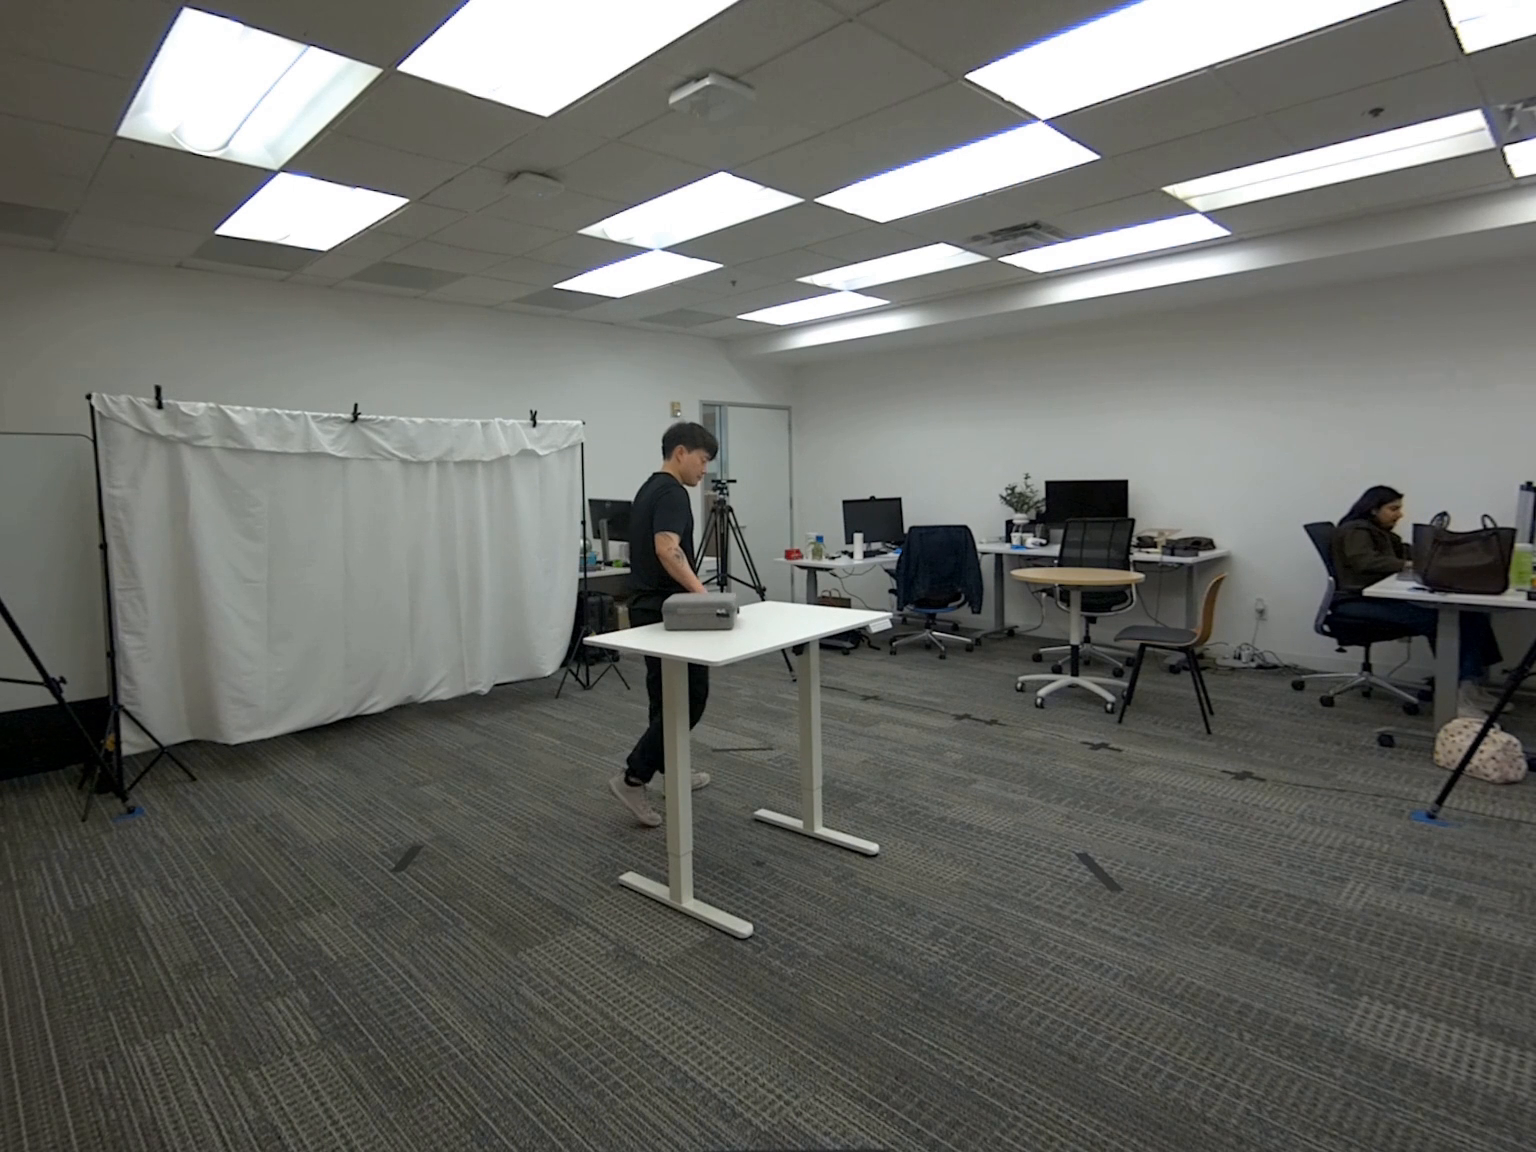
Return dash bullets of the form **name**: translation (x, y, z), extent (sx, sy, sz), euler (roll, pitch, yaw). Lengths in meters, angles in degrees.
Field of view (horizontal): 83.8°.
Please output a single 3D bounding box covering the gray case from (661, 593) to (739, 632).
- **gray case**: translation (-0.236, 0.123, 3.052), extent (0.258, 0.104, 0.260), euler (-2, 5, 5)
